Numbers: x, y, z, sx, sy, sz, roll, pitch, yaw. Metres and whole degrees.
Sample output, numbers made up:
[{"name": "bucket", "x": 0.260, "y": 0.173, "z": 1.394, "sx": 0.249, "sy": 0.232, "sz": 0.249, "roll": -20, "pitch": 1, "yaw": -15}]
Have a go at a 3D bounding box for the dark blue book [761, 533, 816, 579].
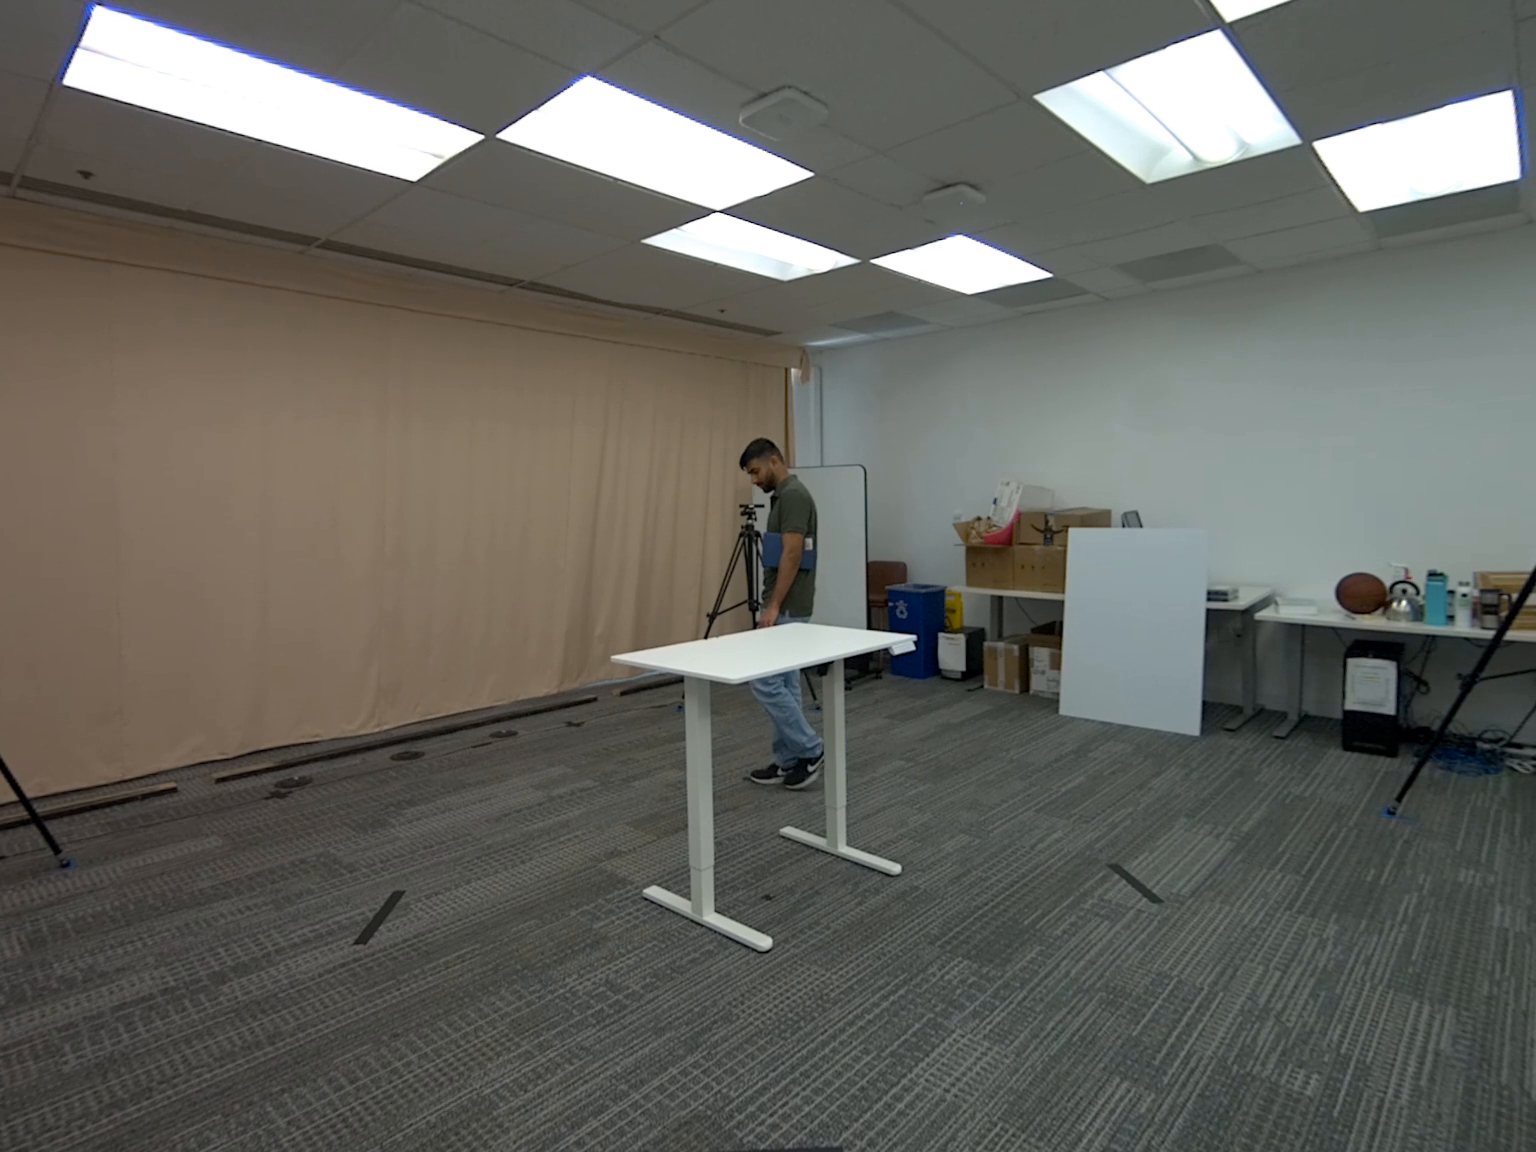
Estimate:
[{"name": "dark blue book", "x": 0.095, "y": -0.113, "z": 4.066, "sx": 0.243, "sy": 0.163, "sz": 0.045, "roll": 2, "pitch": -1, "yaw": -7}]
